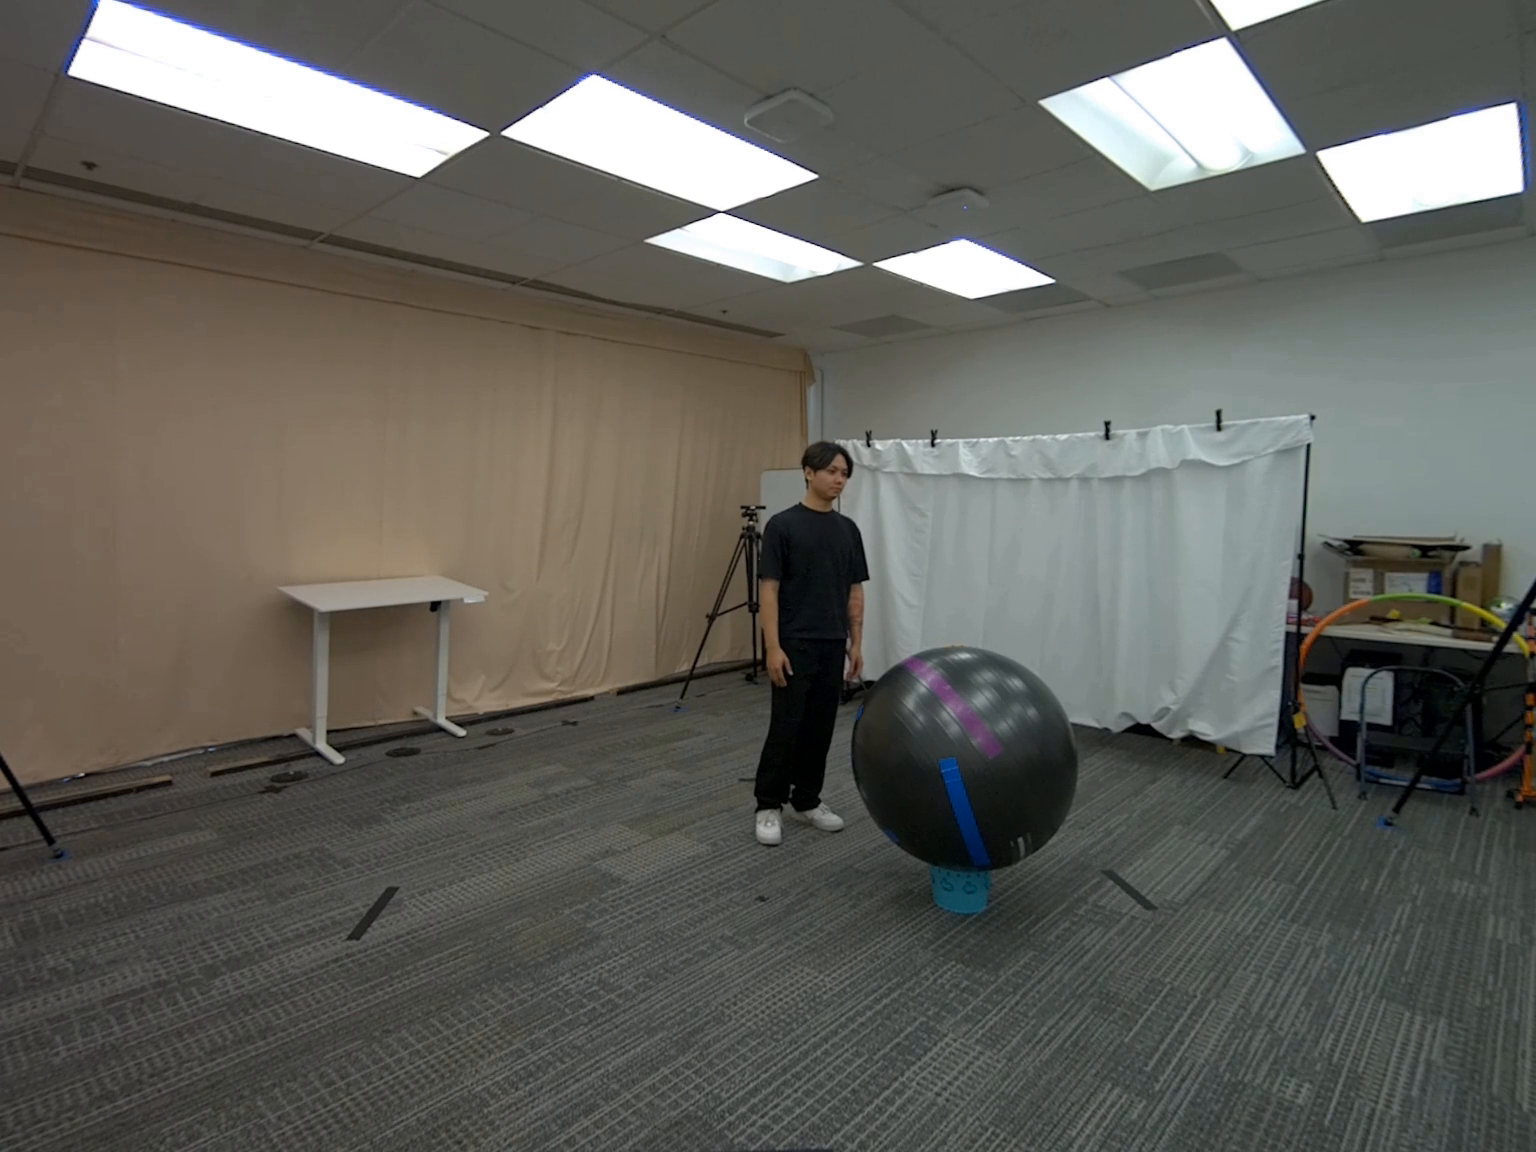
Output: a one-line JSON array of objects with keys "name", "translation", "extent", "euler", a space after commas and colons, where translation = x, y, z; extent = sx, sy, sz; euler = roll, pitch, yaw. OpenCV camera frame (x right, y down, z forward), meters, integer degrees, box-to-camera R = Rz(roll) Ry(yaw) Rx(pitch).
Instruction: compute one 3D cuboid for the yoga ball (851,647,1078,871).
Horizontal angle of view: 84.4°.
[{"name": "yoga ball", "translation": [0.681, 0.634, 2.943], "extent": [0.757, 0.756, 0.760], "euler": [0, 4, -2]}]
